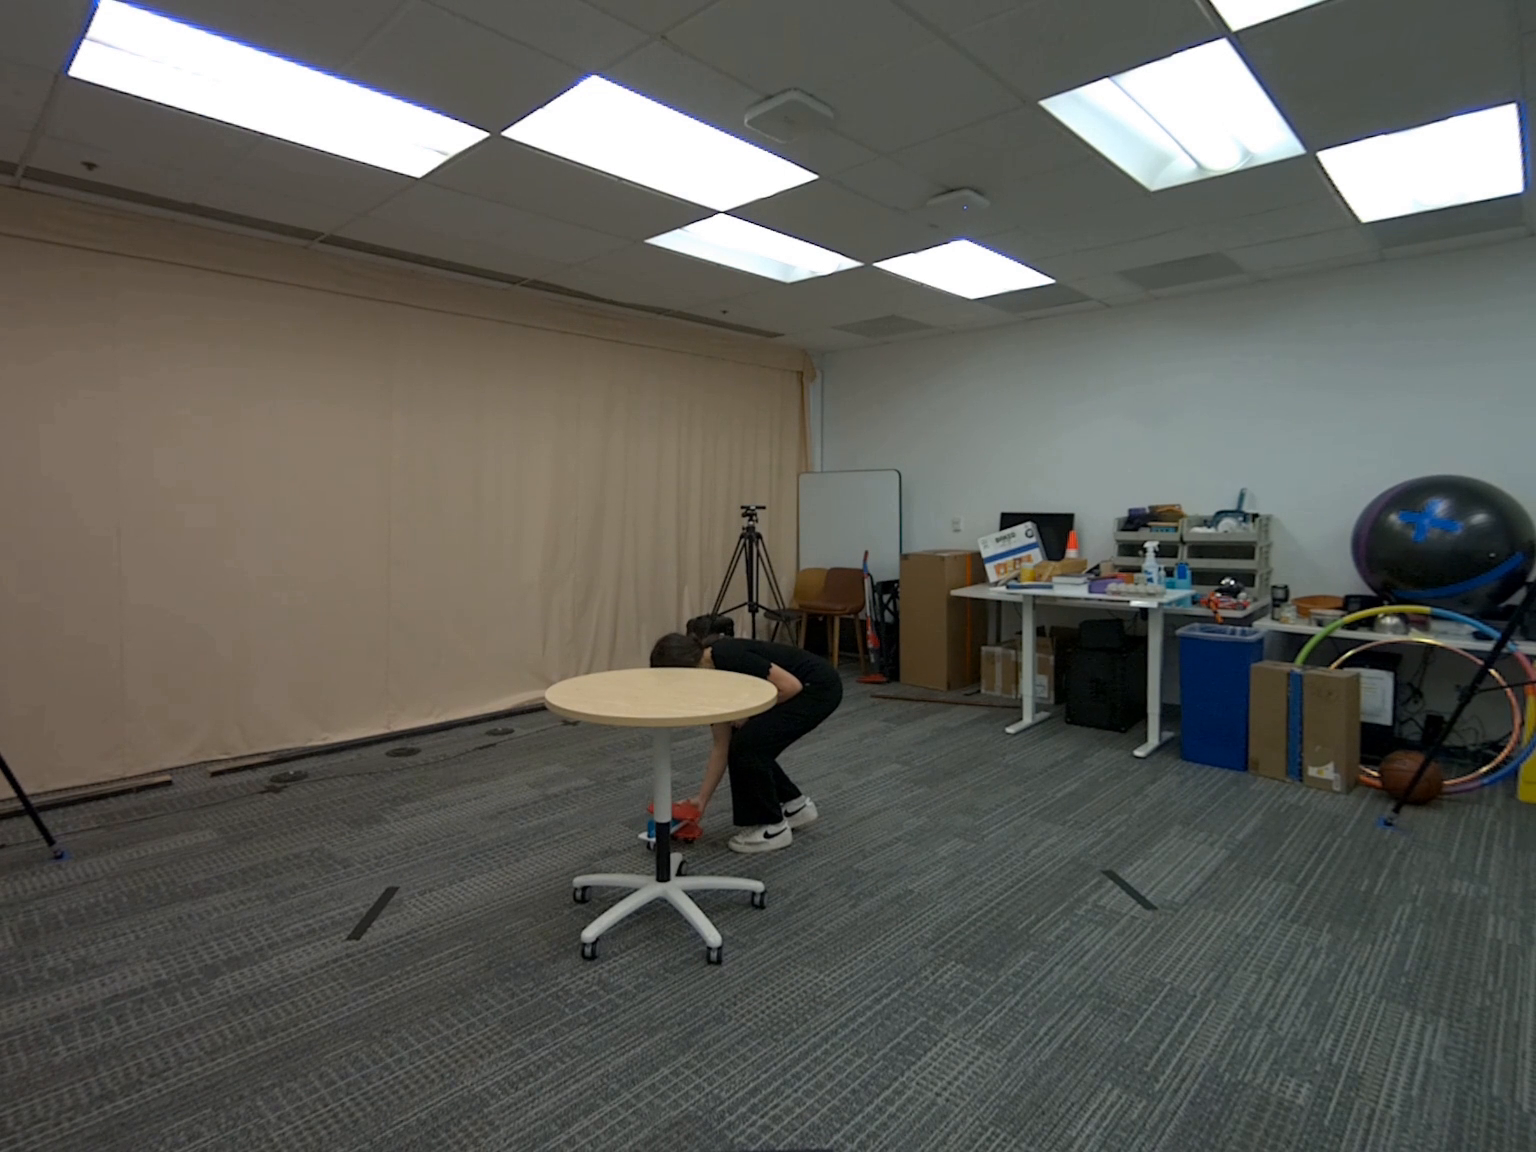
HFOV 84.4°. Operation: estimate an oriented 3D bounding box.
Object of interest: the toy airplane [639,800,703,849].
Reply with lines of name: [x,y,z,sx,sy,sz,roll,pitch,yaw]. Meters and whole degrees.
toy airplane: [-0.387,1.035,3.435,0.253,0.156,0.257,1,-1,7]
